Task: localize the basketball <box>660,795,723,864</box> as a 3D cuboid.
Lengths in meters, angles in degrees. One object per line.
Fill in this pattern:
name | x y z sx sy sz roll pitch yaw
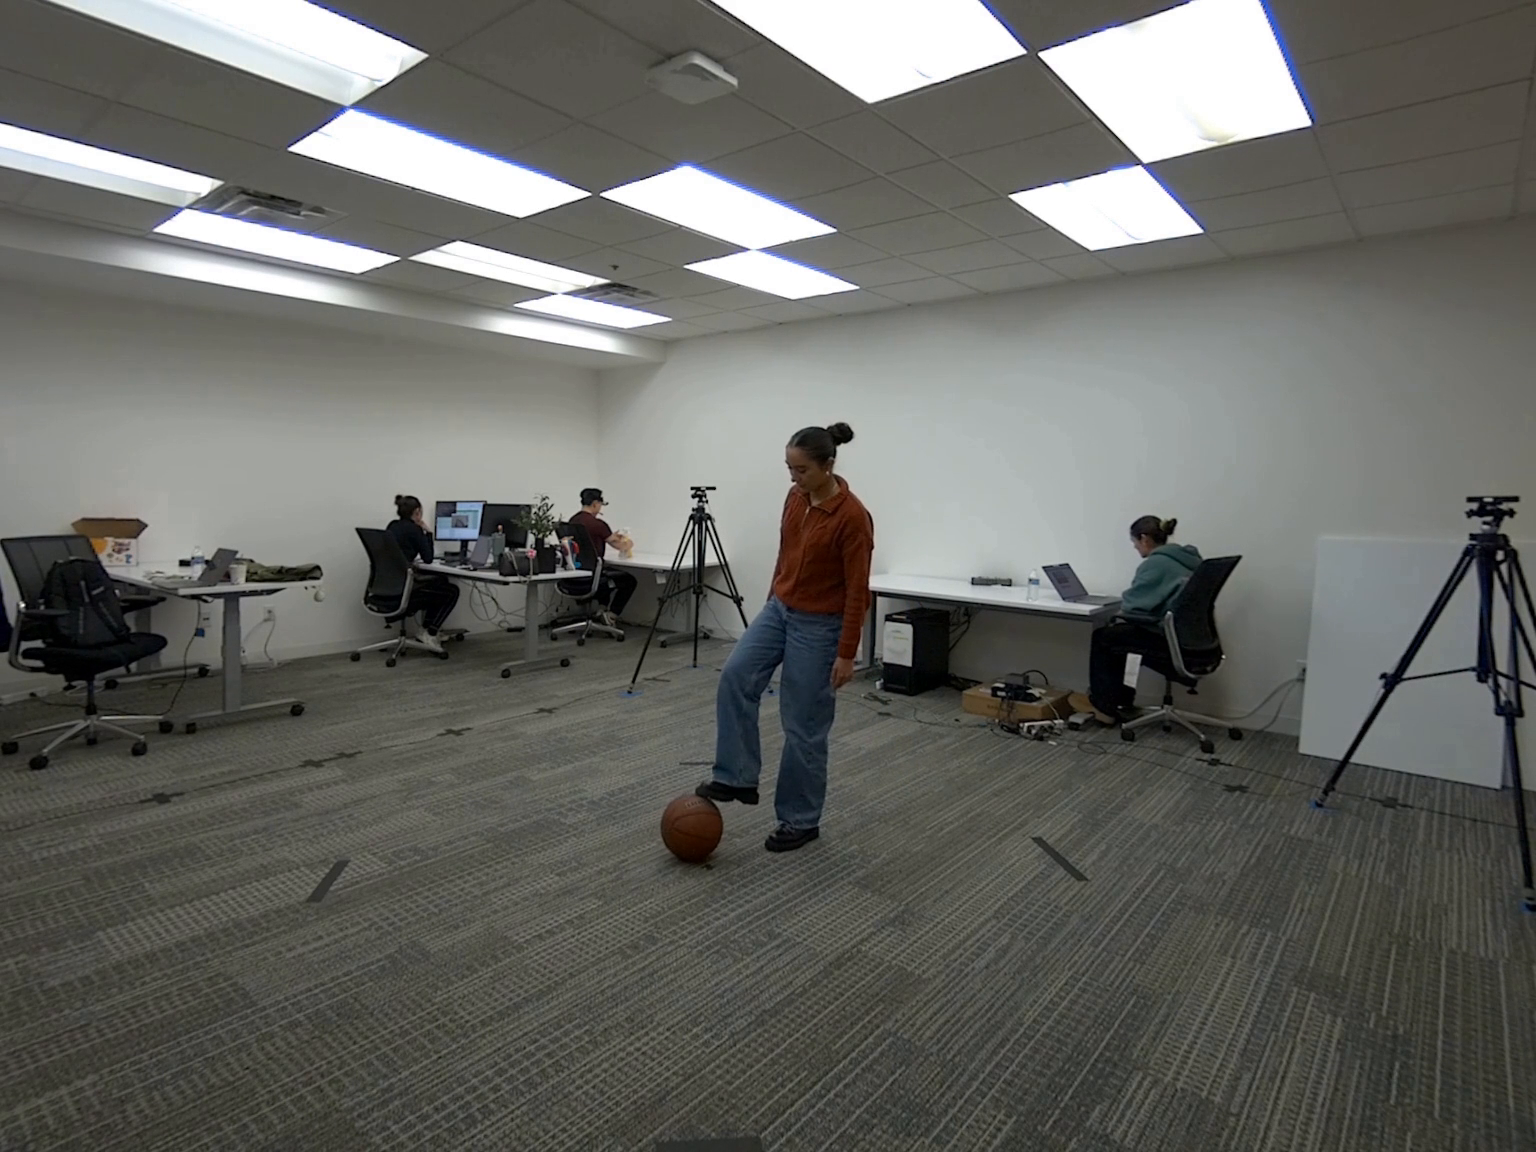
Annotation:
basketball | -0.304 0.939 3.191 0.235 0.235 0.237 1 4 -2
